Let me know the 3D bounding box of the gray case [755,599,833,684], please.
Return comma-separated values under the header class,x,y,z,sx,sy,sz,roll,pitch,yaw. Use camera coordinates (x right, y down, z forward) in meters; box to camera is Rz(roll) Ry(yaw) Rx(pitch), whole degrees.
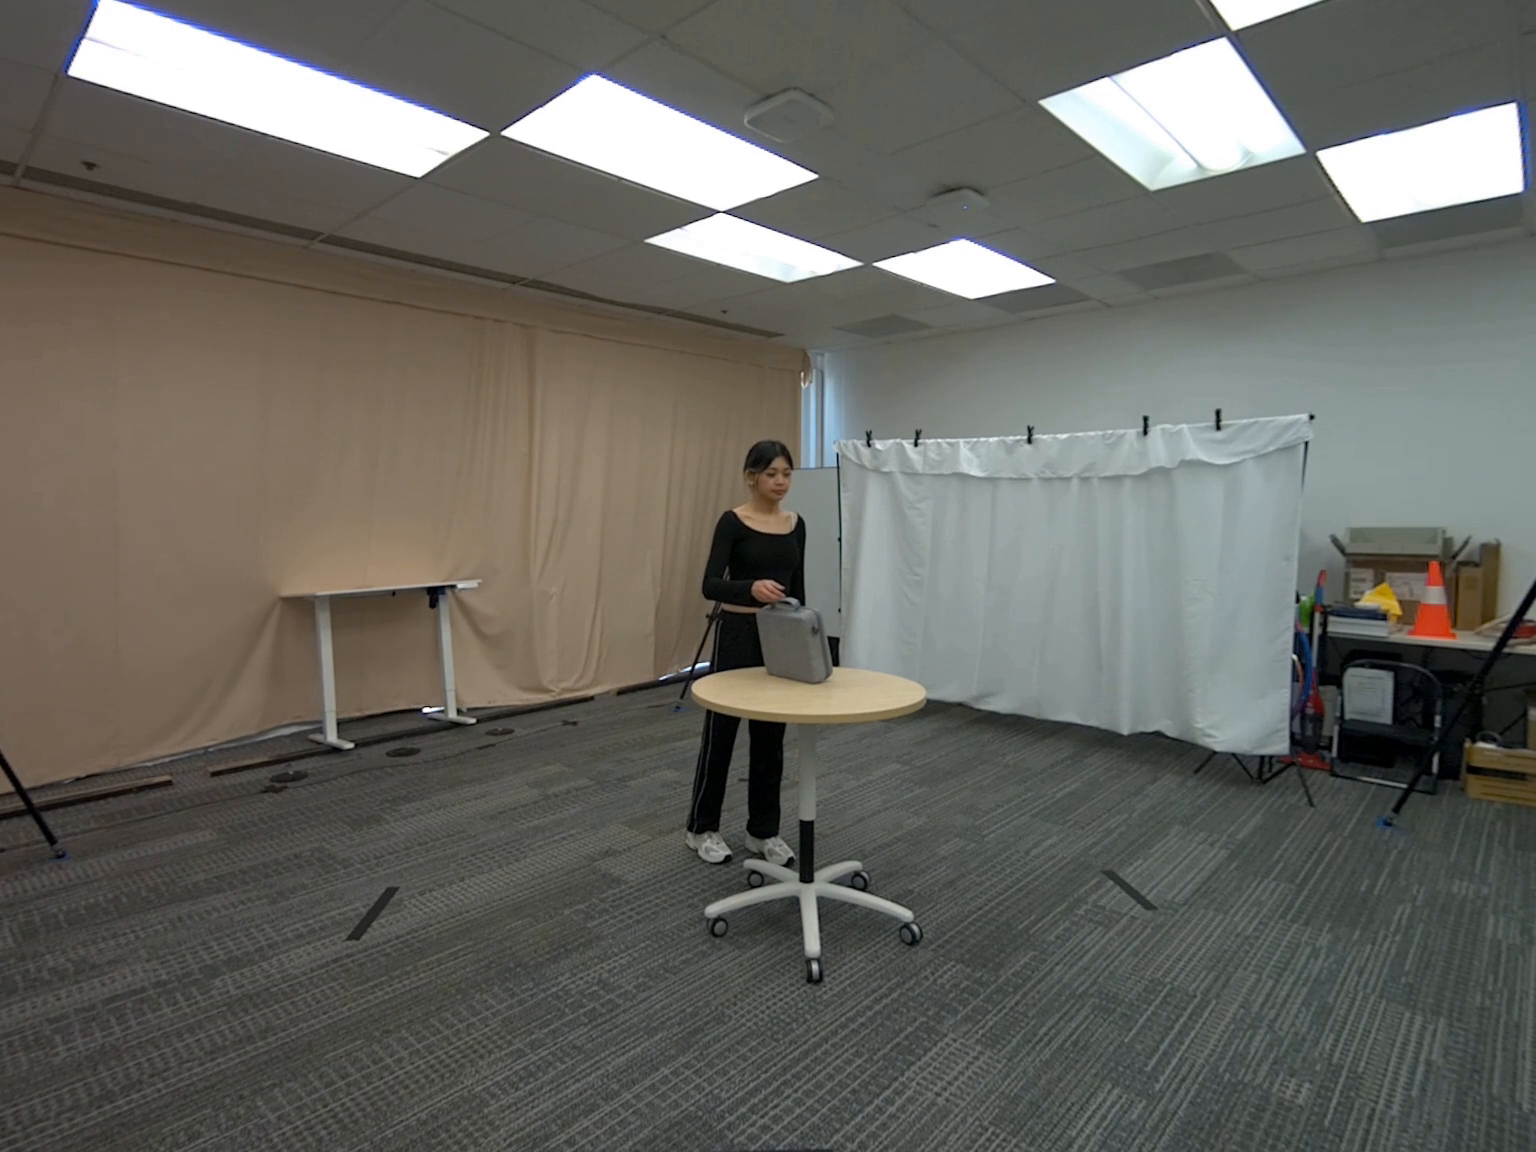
class,x,y,z,sx,sy,sz,roll,pitch,yaw
gray case,0.090,0.226,2.910,0.102,0.258,0.265,-16,13,-37
